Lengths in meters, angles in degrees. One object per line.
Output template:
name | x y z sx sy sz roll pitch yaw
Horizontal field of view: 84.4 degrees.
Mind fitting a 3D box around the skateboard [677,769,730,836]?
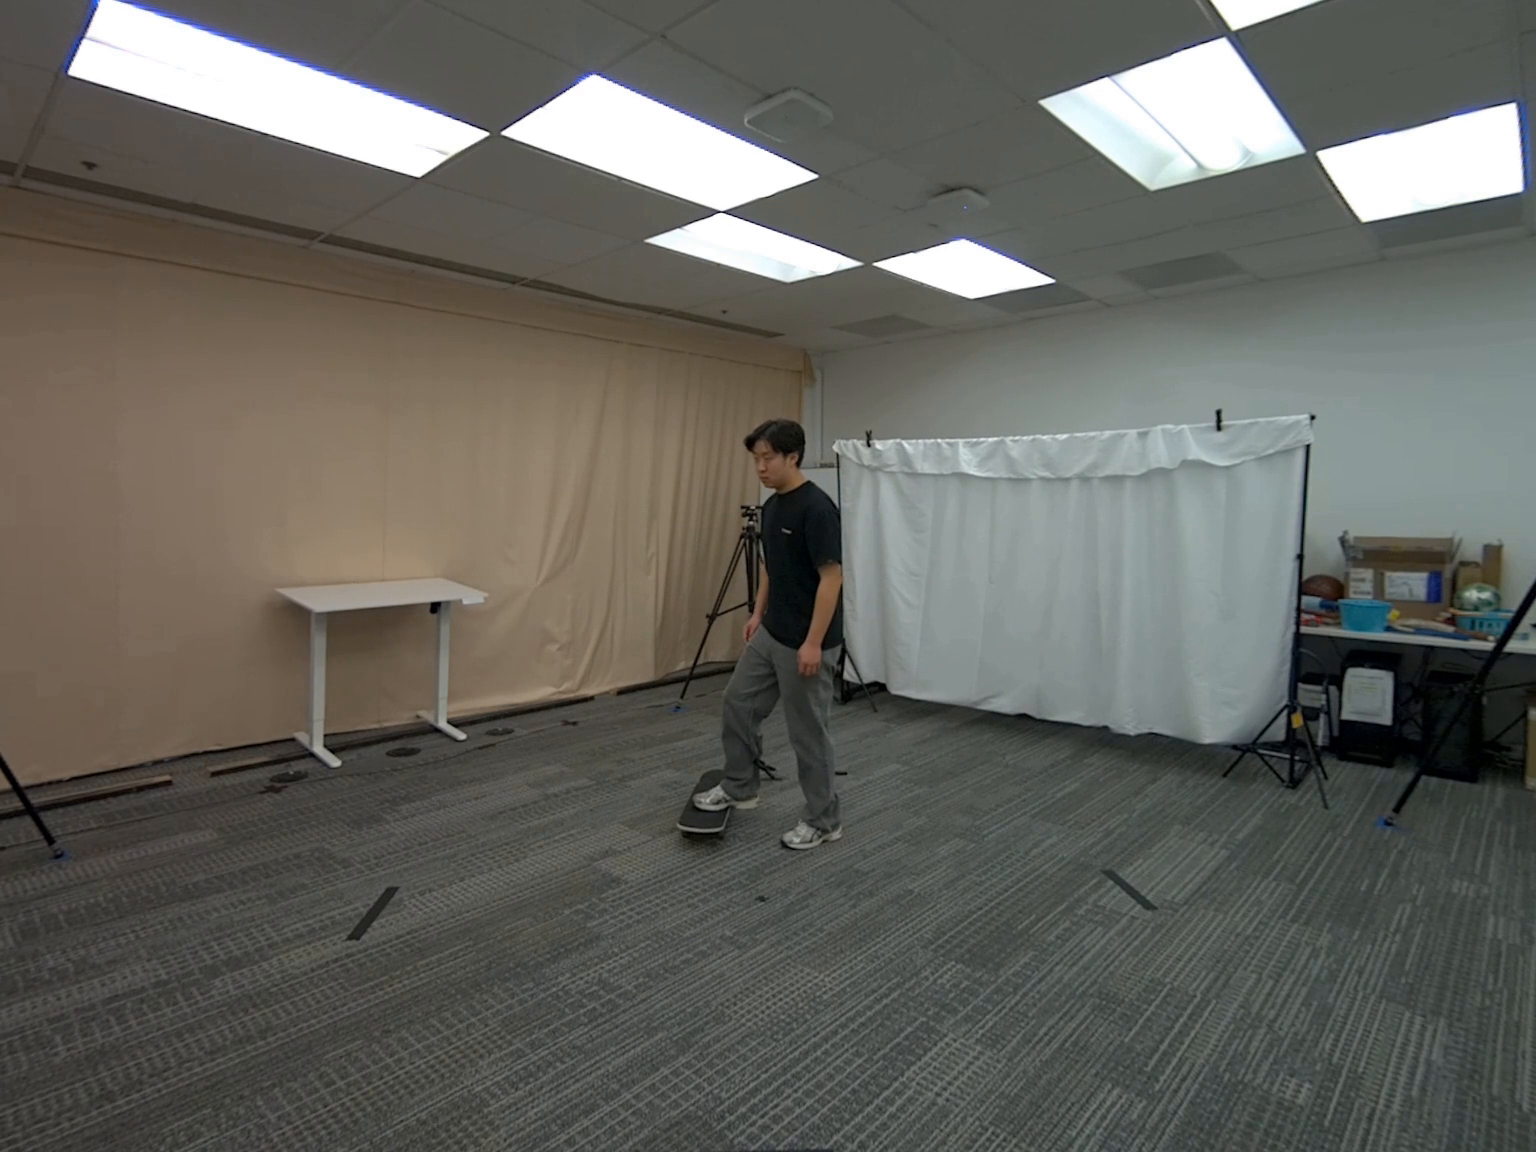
skateboard | -0.255 1.024 3.729 0.195 0.110 0.782 0 4 4
